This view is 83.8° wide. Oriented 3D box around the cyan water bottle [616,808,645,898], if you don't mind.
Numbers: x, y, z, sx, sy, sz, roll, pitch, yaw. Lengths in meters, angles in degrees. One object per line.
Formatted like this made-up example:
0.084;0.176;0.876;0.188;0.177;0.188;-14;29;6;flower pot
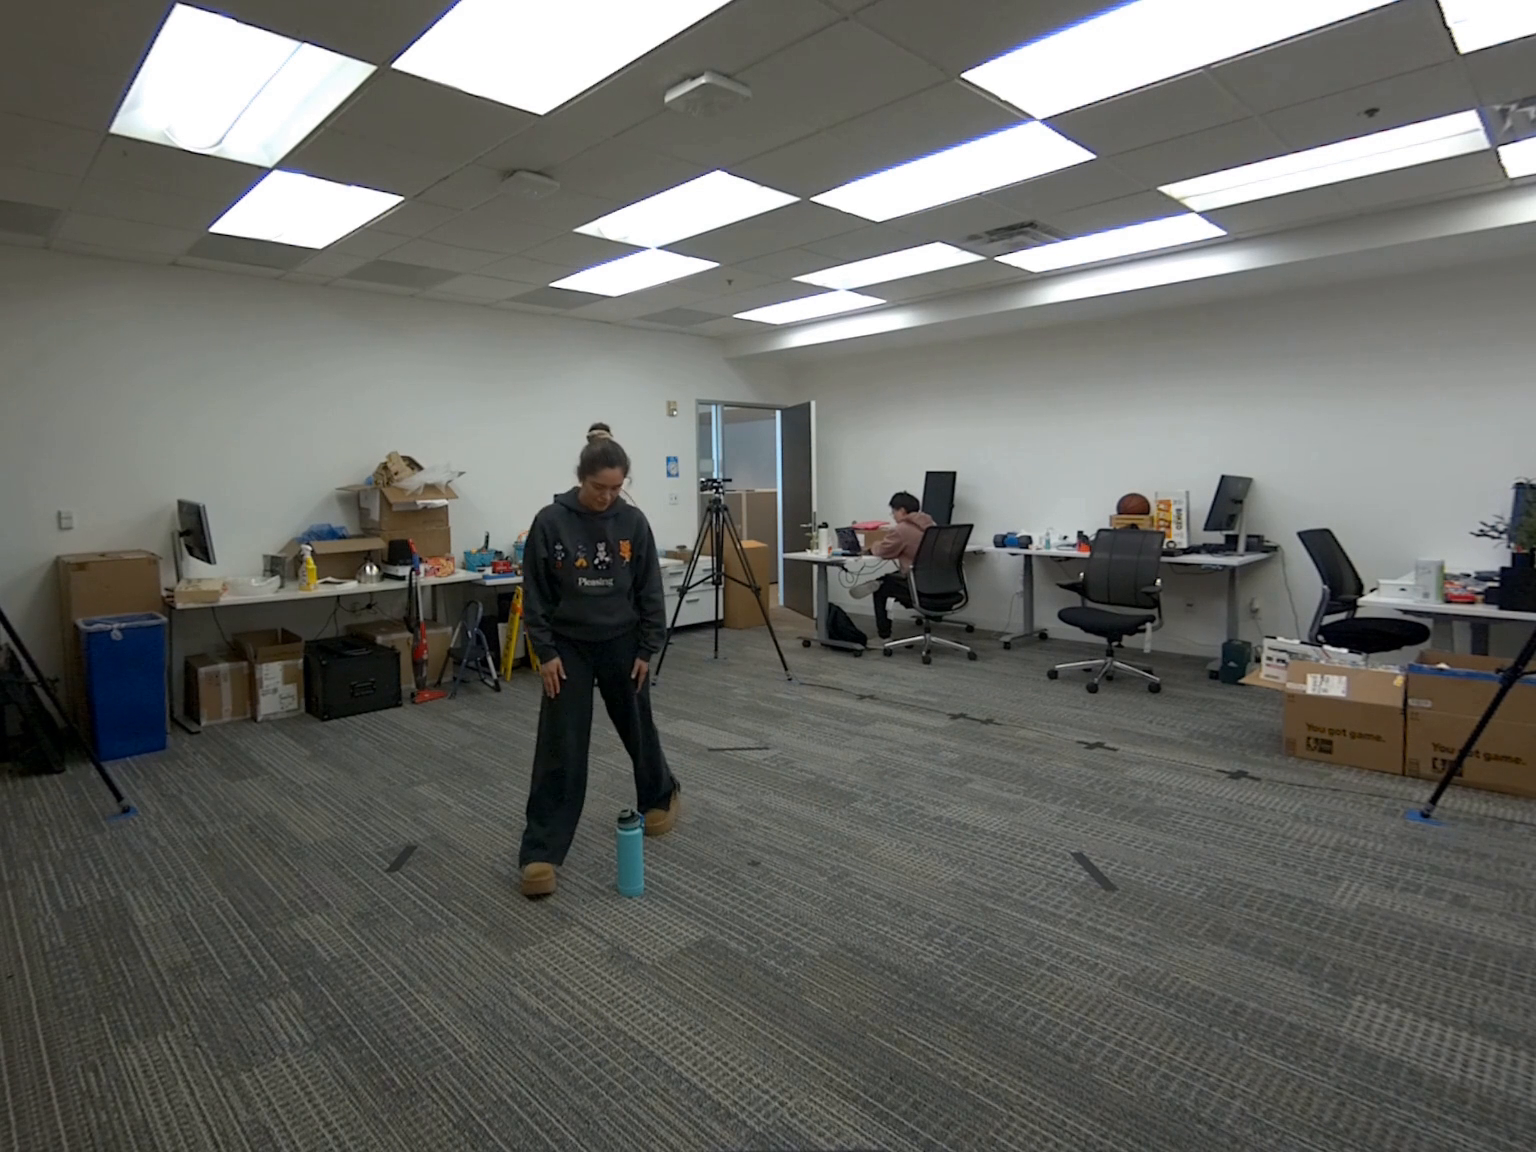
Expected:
-0.470;0.940;2.891;0.092;0.282;0.093;-1;3;-2;cyan water bottle
